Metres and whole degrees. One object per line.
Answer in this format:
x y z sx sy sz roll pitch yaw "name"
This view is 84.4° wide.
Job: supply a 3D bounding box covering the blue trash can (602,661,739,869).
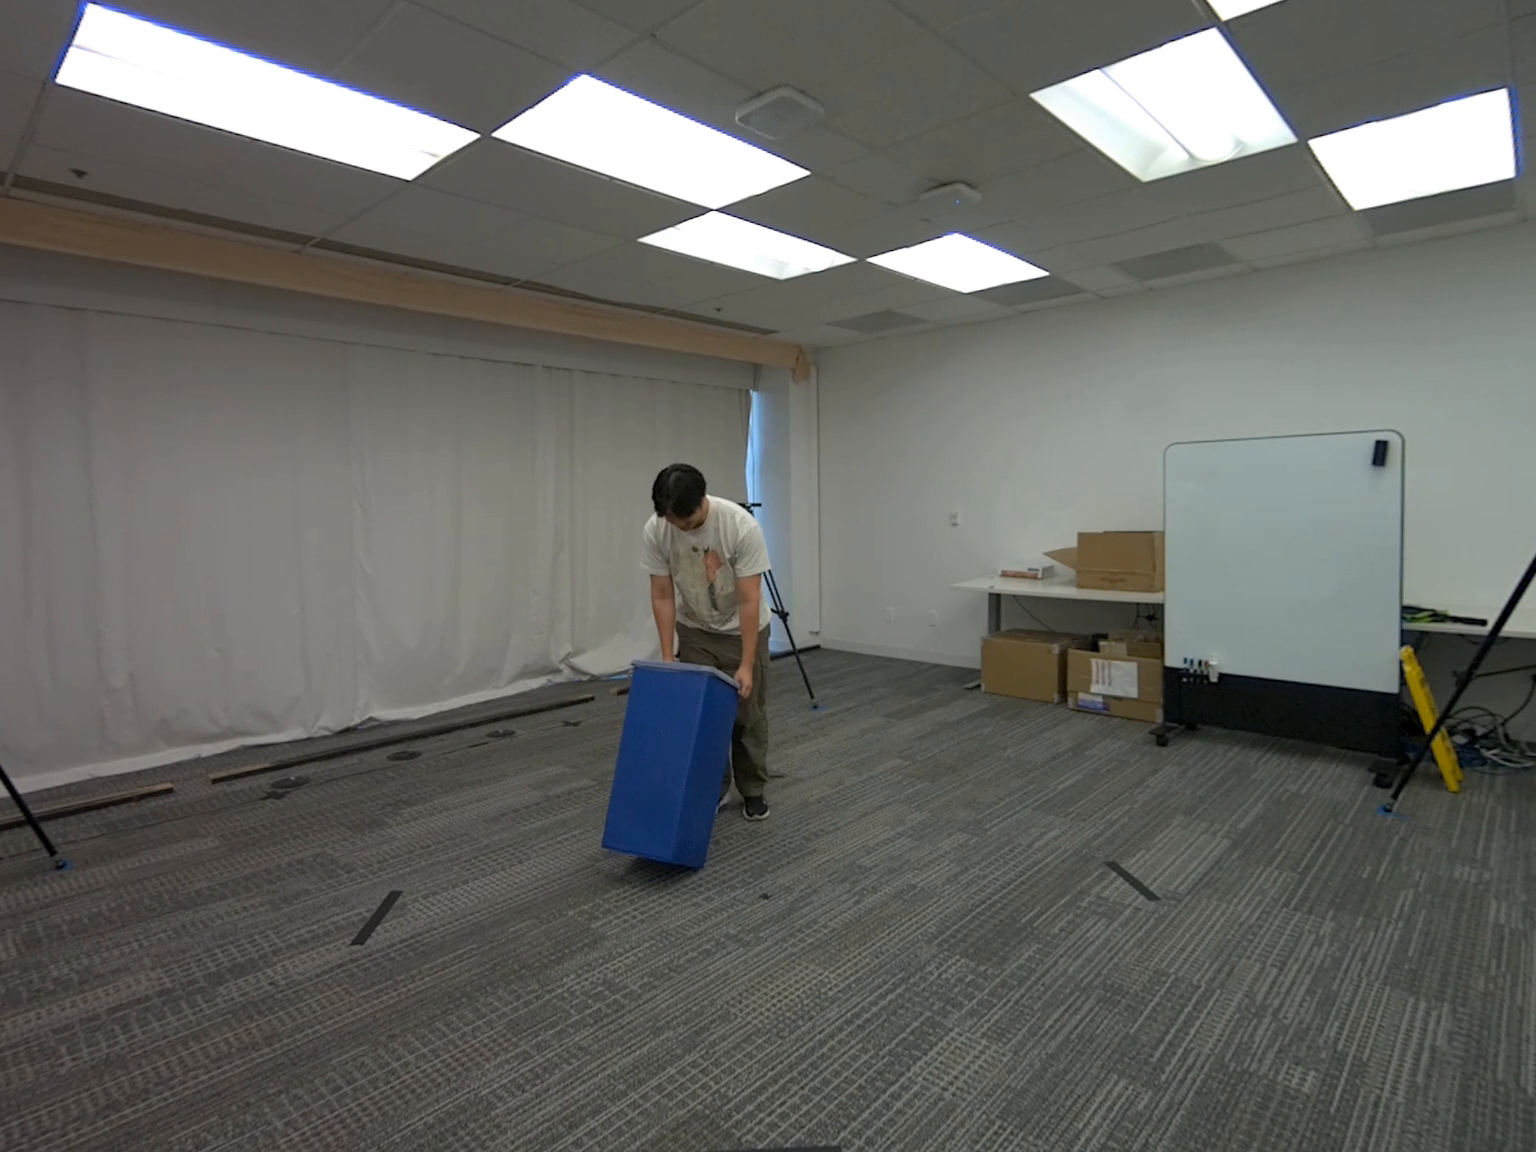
-0.378 0.728 3.277 0.388 0.719 0.362 1 -21 24 "blue trash can"
